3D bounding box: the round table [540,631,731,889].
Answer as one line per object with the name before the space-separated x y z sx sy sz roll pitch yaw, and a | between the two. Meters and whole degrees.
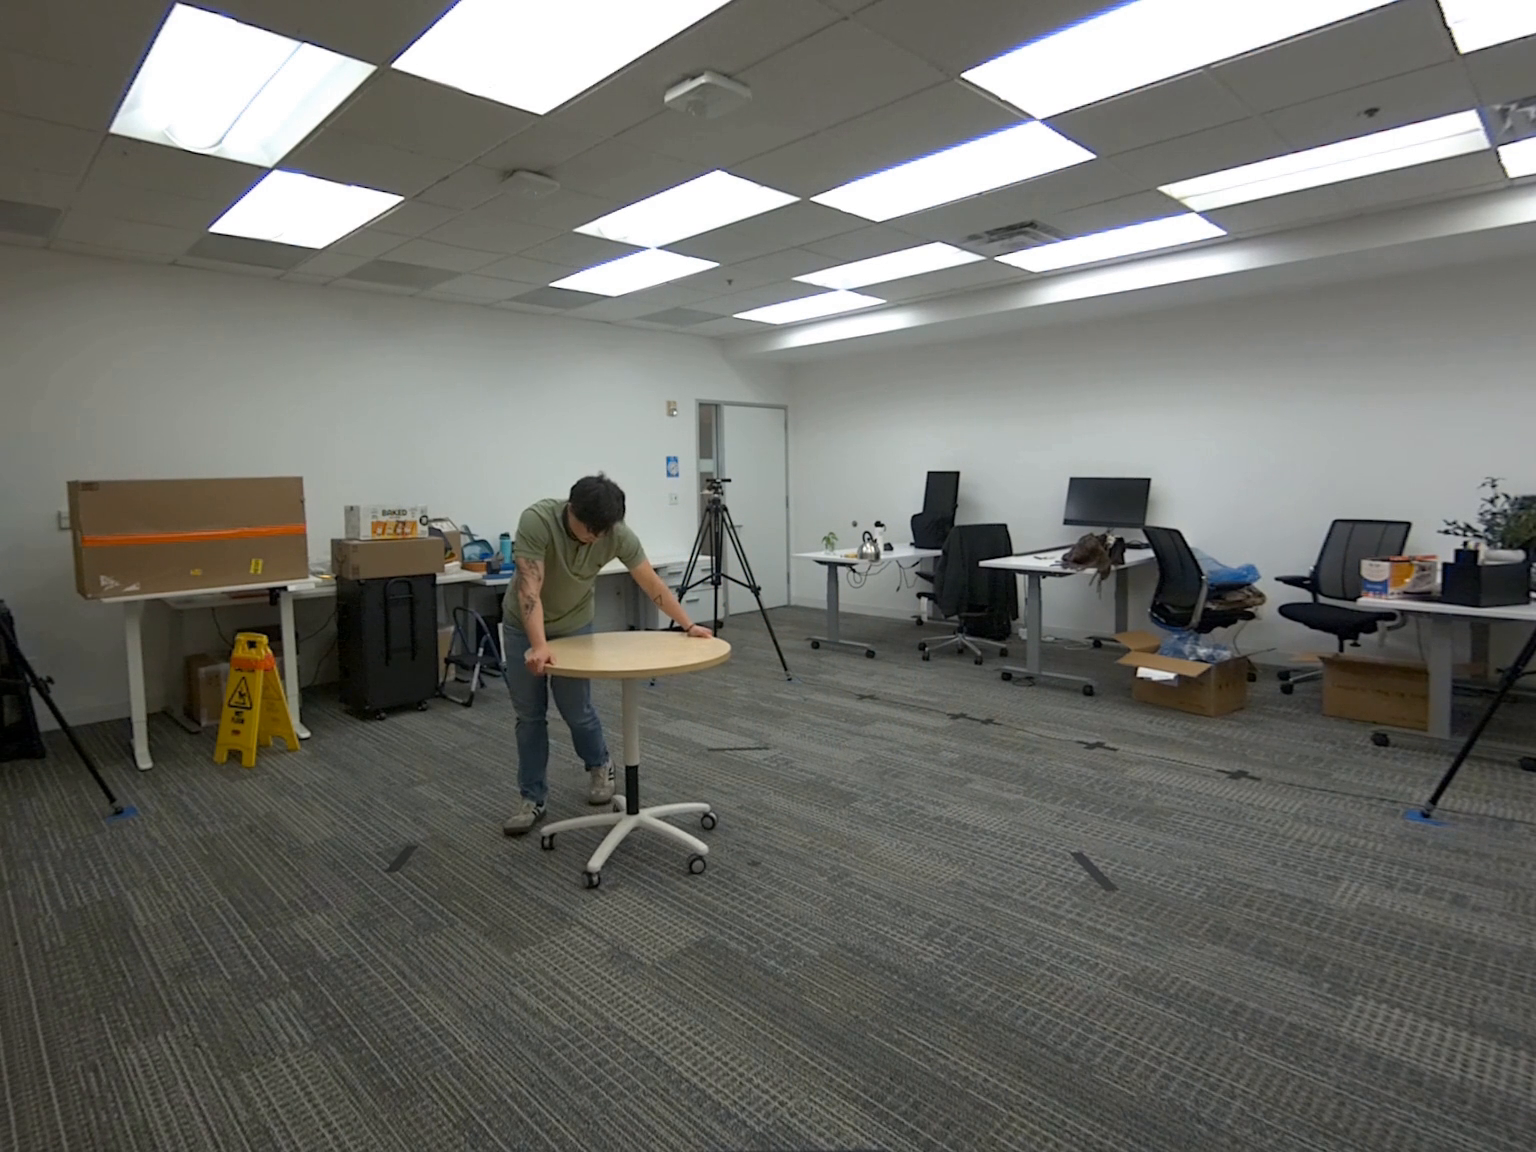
round table | -0.511 0.658 3.220 0.763 0.791 0.767 -1 4 -2
